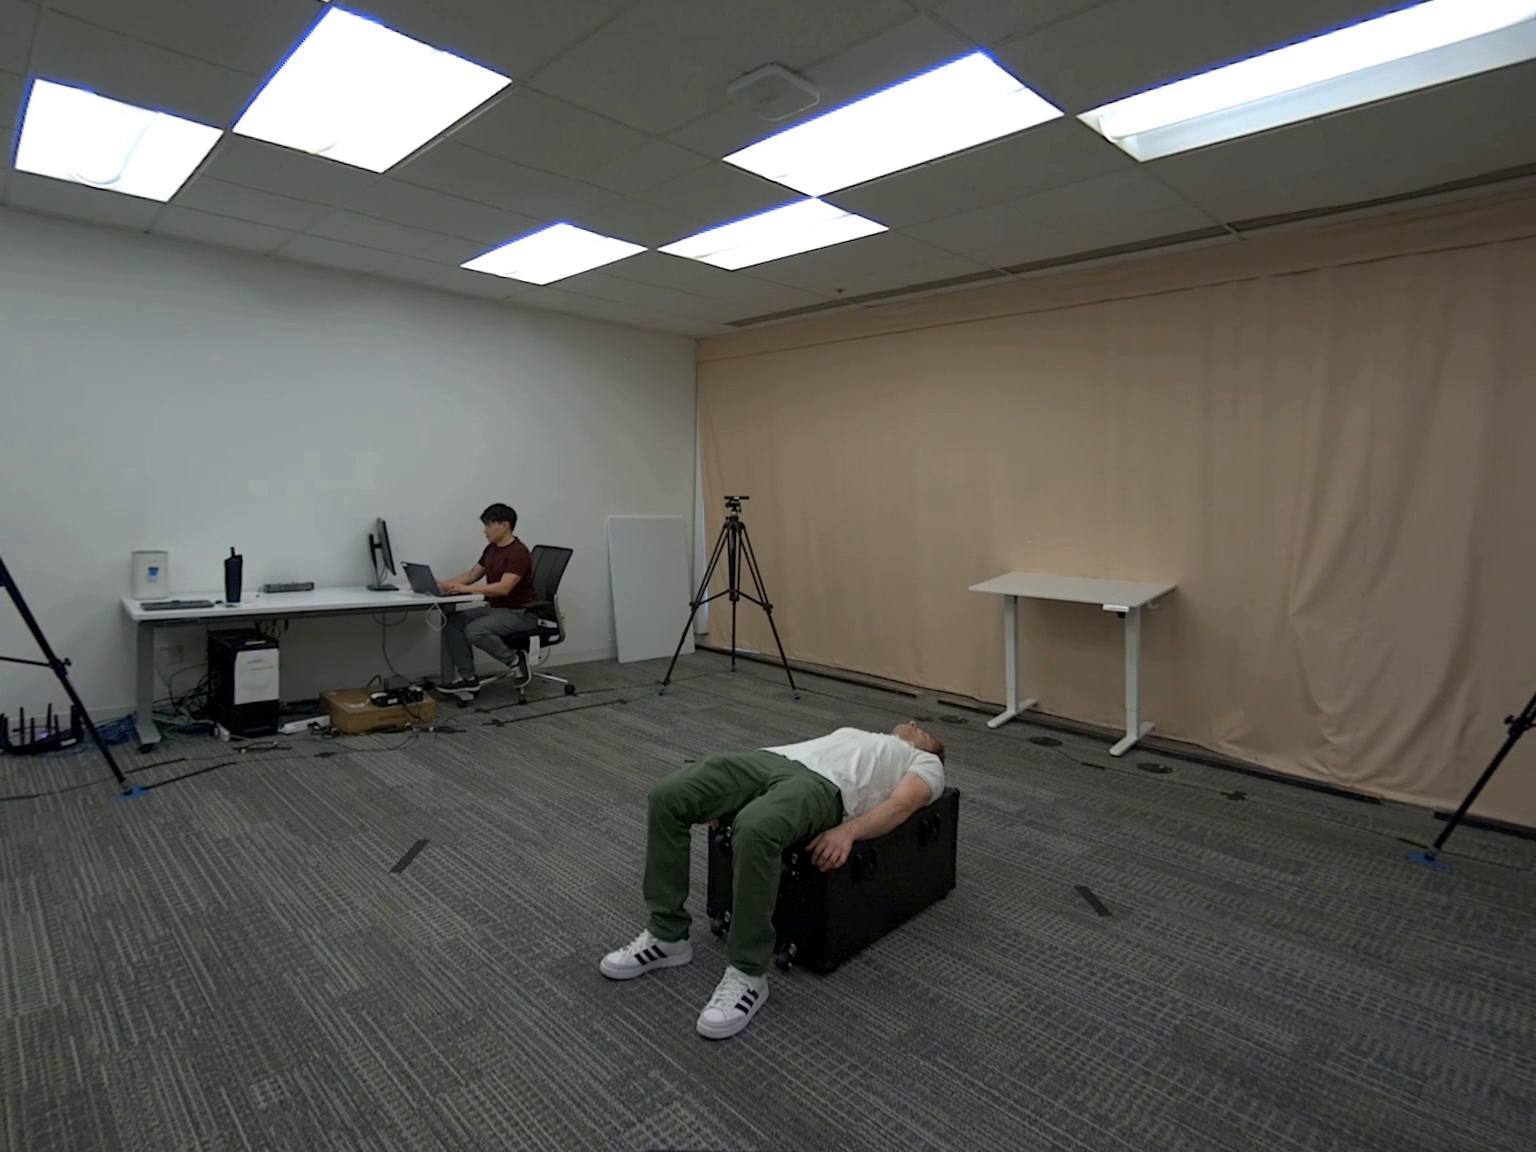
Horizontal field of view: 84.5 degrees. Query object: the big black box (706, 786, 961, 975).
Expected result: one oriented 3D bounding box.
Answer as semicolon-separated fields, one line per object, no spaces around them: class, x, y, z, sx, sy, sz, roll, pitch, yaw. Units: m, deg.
big black box;0.204;0.949;2.842;0.537;0.384;0.849;7;8;42
